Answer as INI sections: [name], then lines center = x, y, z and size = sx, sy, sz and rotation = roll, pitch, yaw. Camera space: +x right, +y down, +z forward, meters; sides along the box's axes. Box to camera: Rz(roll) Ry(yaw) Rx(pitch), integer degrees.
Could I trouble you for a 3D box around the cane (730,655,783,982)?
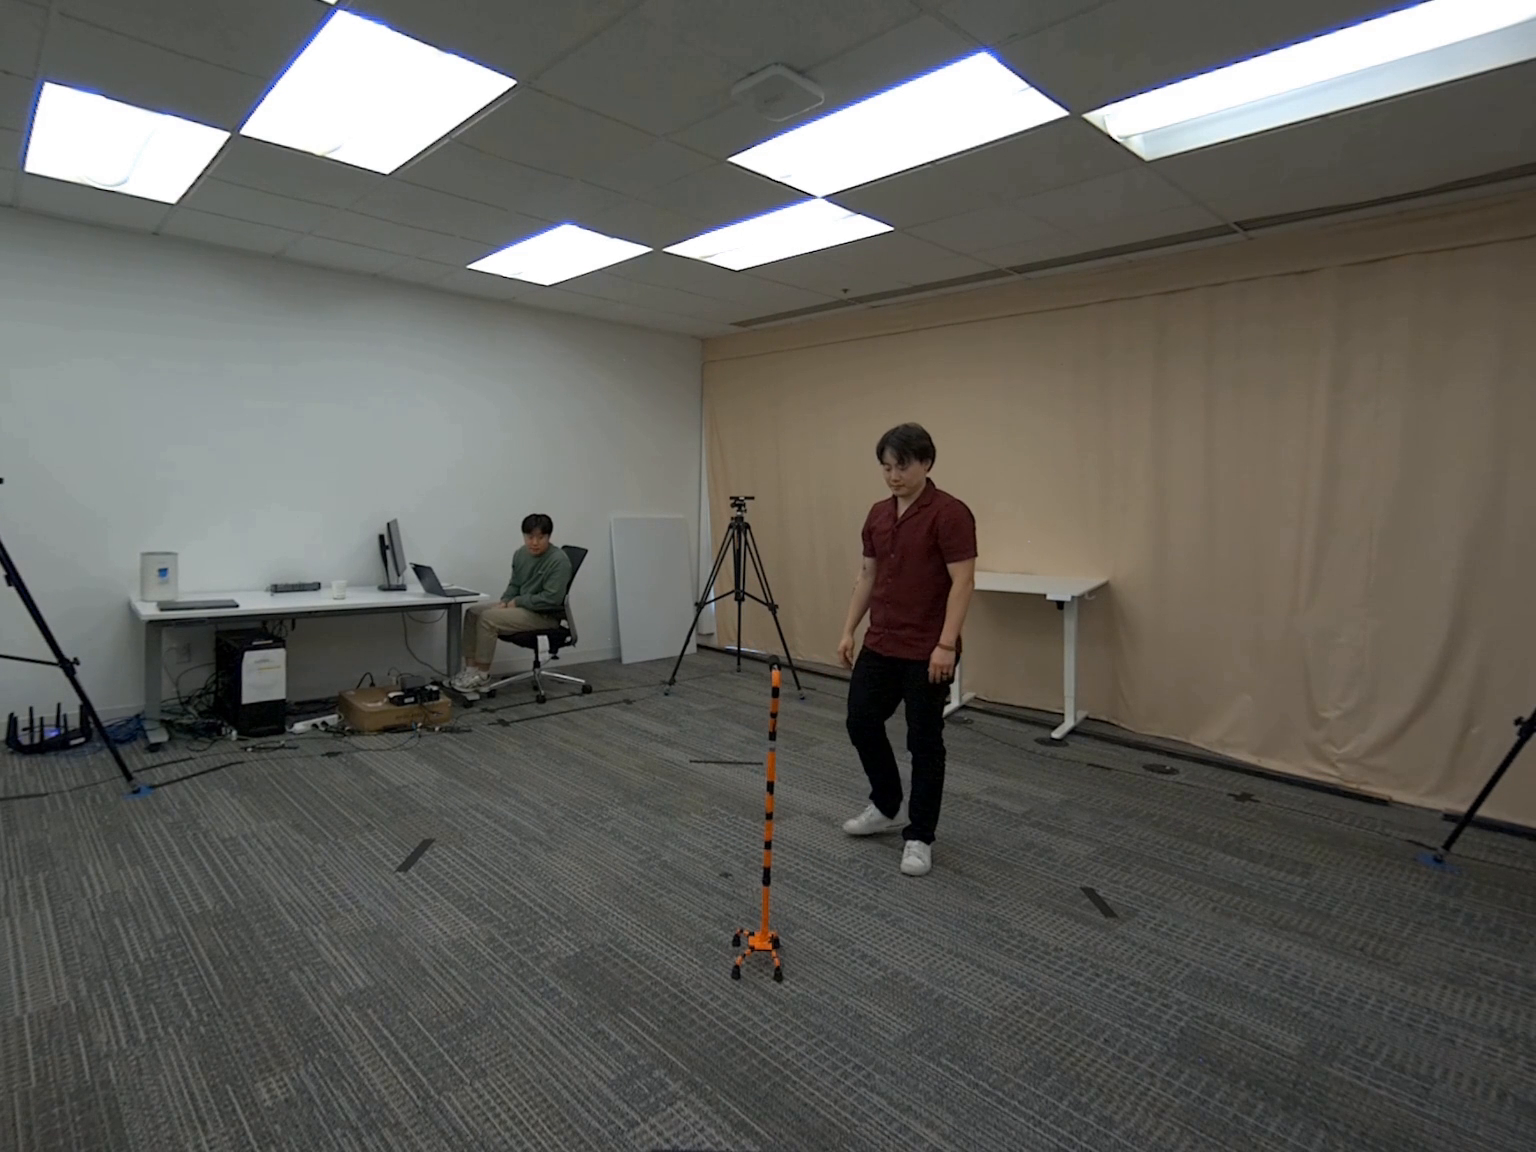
[cane]
center = -0.019, 0.712, 2.501
size = 0.151, 0.906, 0.207
rotation = 2, 3, -2
